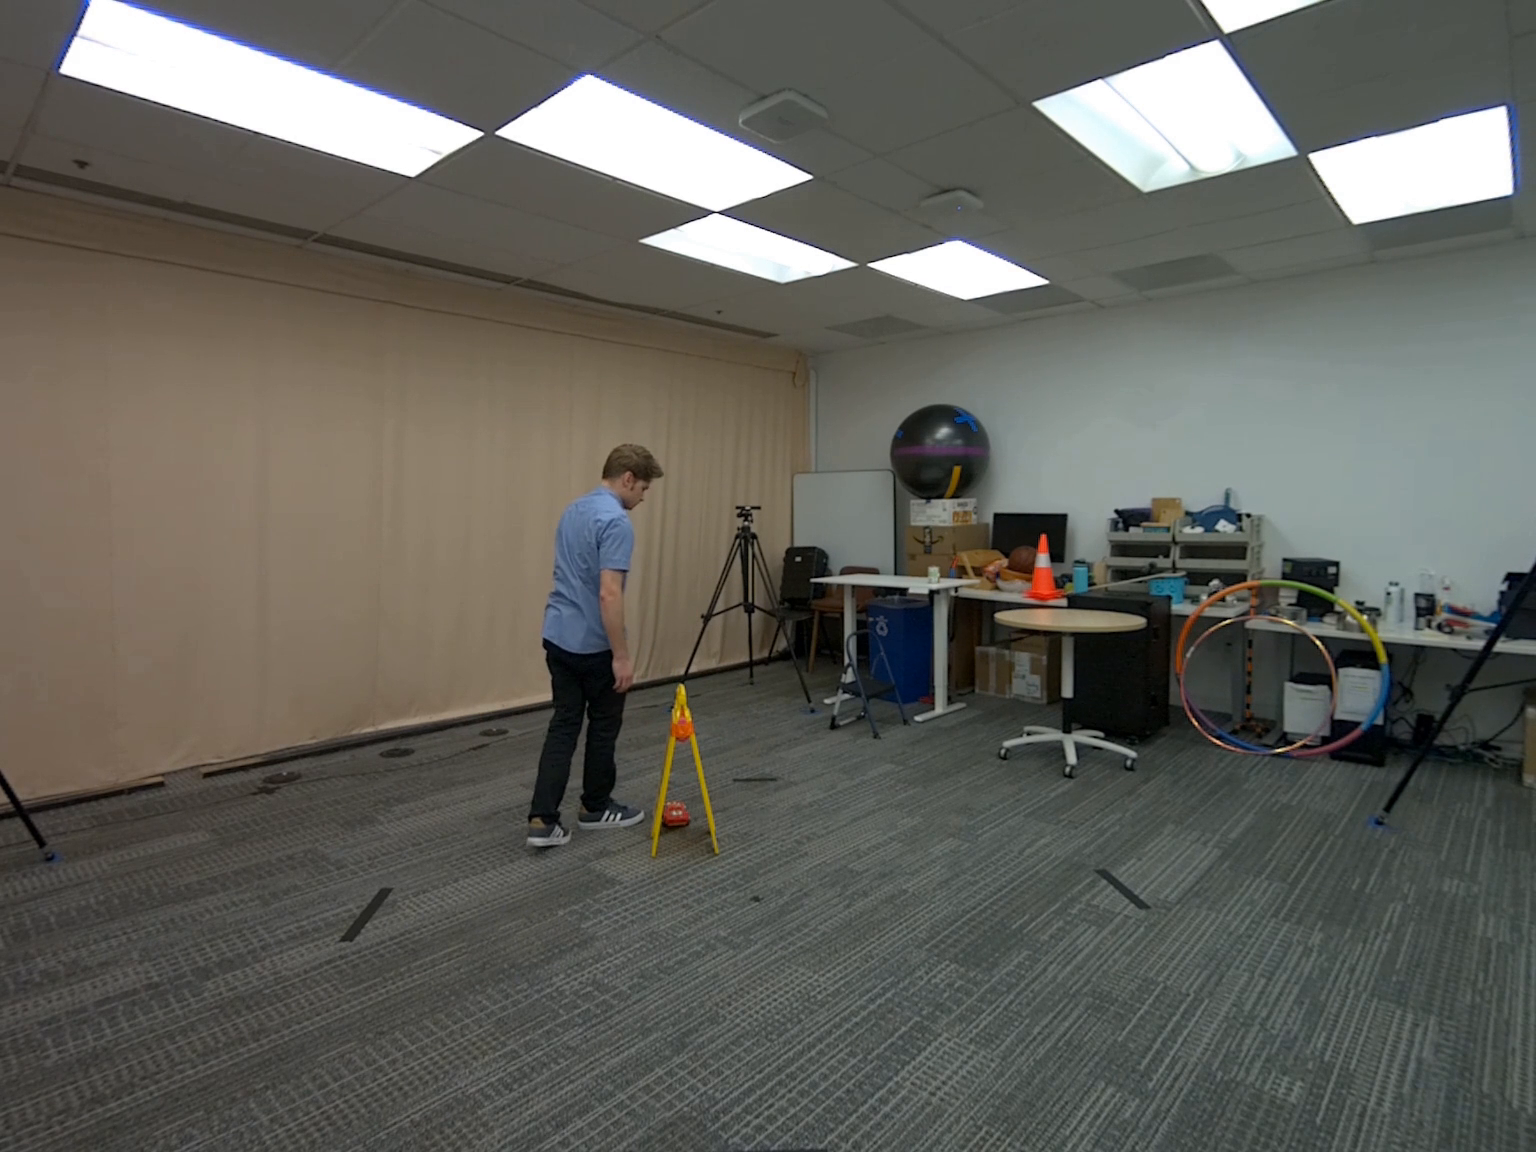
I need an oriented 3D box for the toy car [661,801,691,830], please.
[{"bbox_3d":[-0.415,1.057,3.729,0.129,0.083,0.256,2,-6,-11],"label":"toy car"}]
